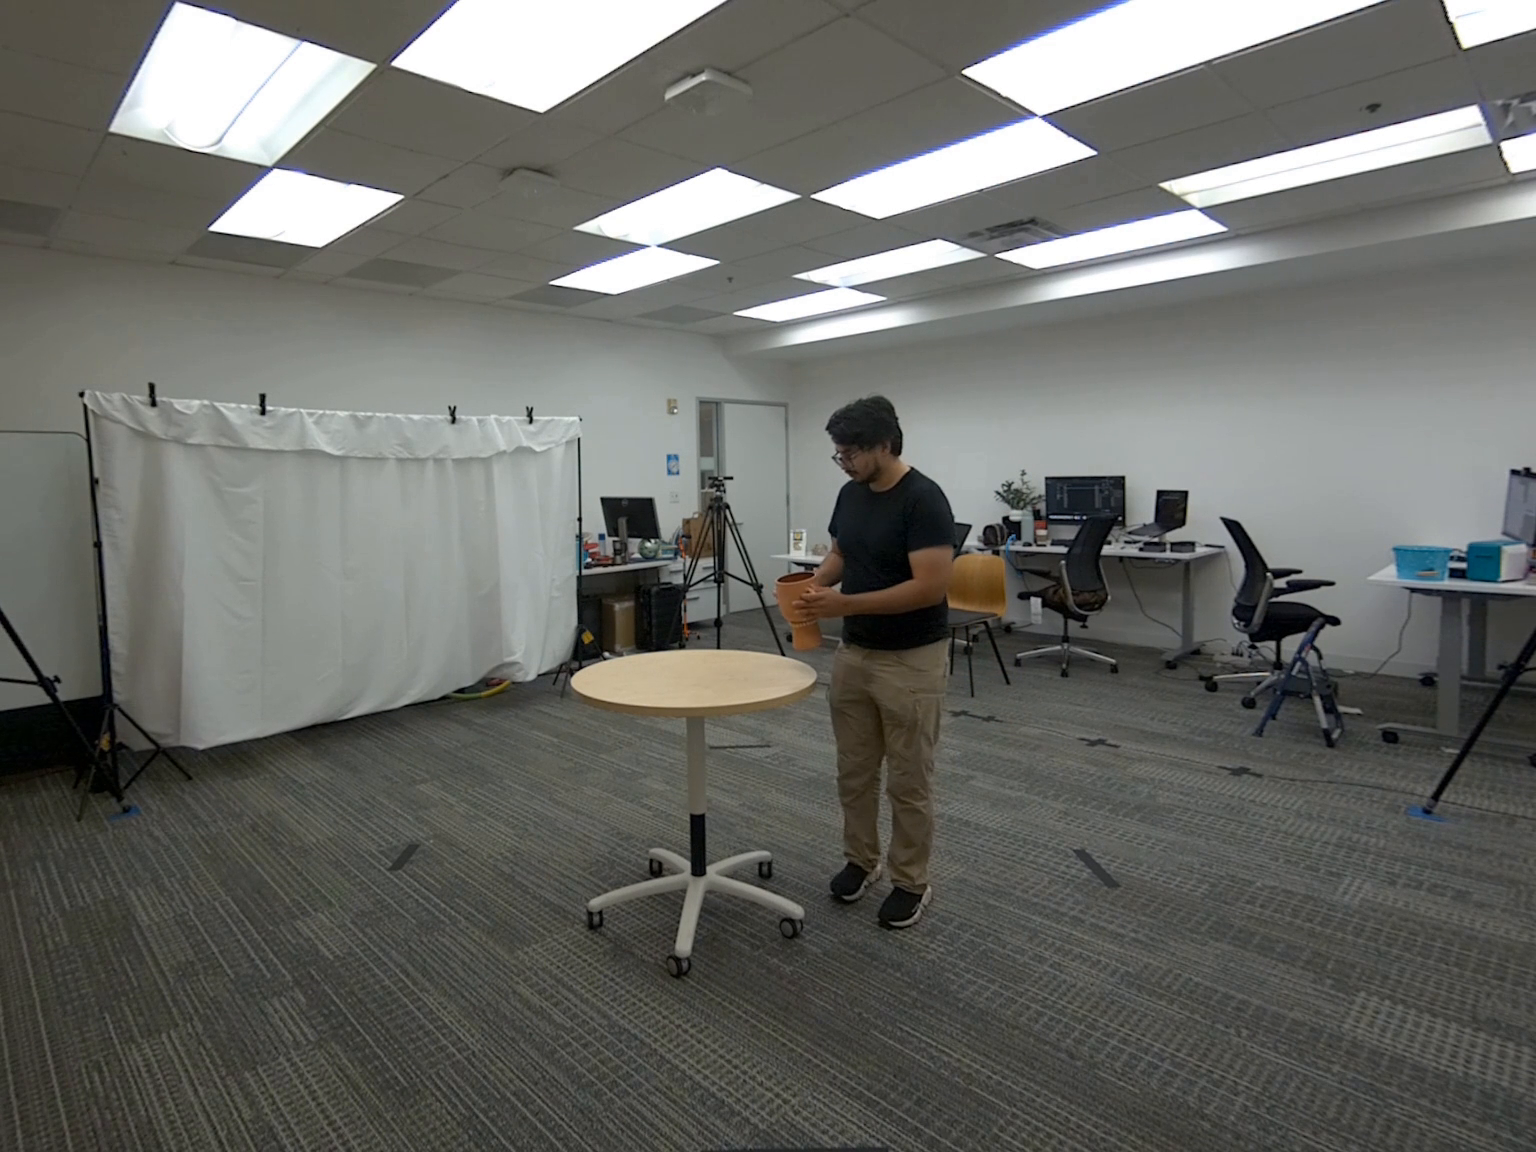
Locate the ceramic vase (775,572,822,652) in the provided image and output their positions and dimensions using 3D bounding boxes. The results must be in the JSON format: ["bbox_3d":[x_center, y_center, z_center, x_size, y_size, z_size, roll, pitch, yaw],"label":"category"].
[{"bbox_3d":[0.115,0.109,2.649,0.136,0.218,0.159,-10,9,9],"label":"ceramic vase"}]
